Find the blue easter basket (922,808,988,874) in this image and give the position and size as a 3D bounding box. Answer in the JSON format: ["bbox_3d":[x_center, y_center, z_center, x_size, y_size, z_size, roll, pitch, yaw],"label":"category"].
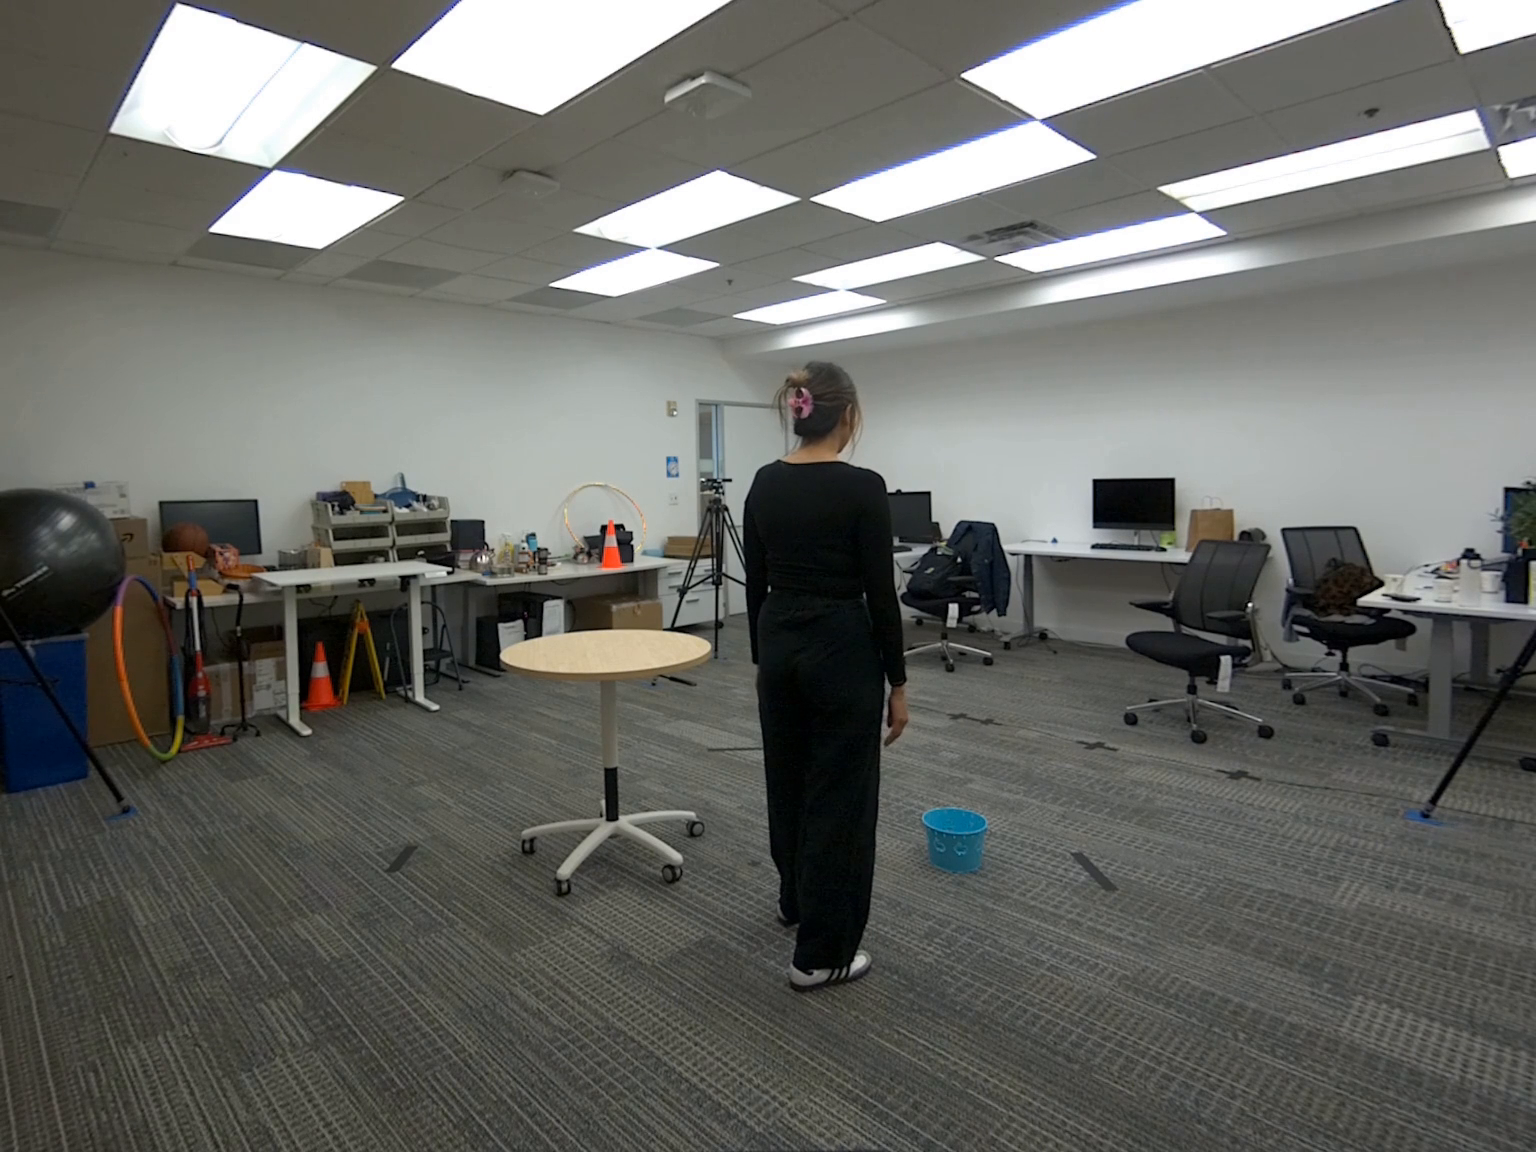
[{"bbox_3d":[0.683,0.955,3.095,0.243,0.155,0.245,-1,5,-2],"label":"blue easter basket"}]
